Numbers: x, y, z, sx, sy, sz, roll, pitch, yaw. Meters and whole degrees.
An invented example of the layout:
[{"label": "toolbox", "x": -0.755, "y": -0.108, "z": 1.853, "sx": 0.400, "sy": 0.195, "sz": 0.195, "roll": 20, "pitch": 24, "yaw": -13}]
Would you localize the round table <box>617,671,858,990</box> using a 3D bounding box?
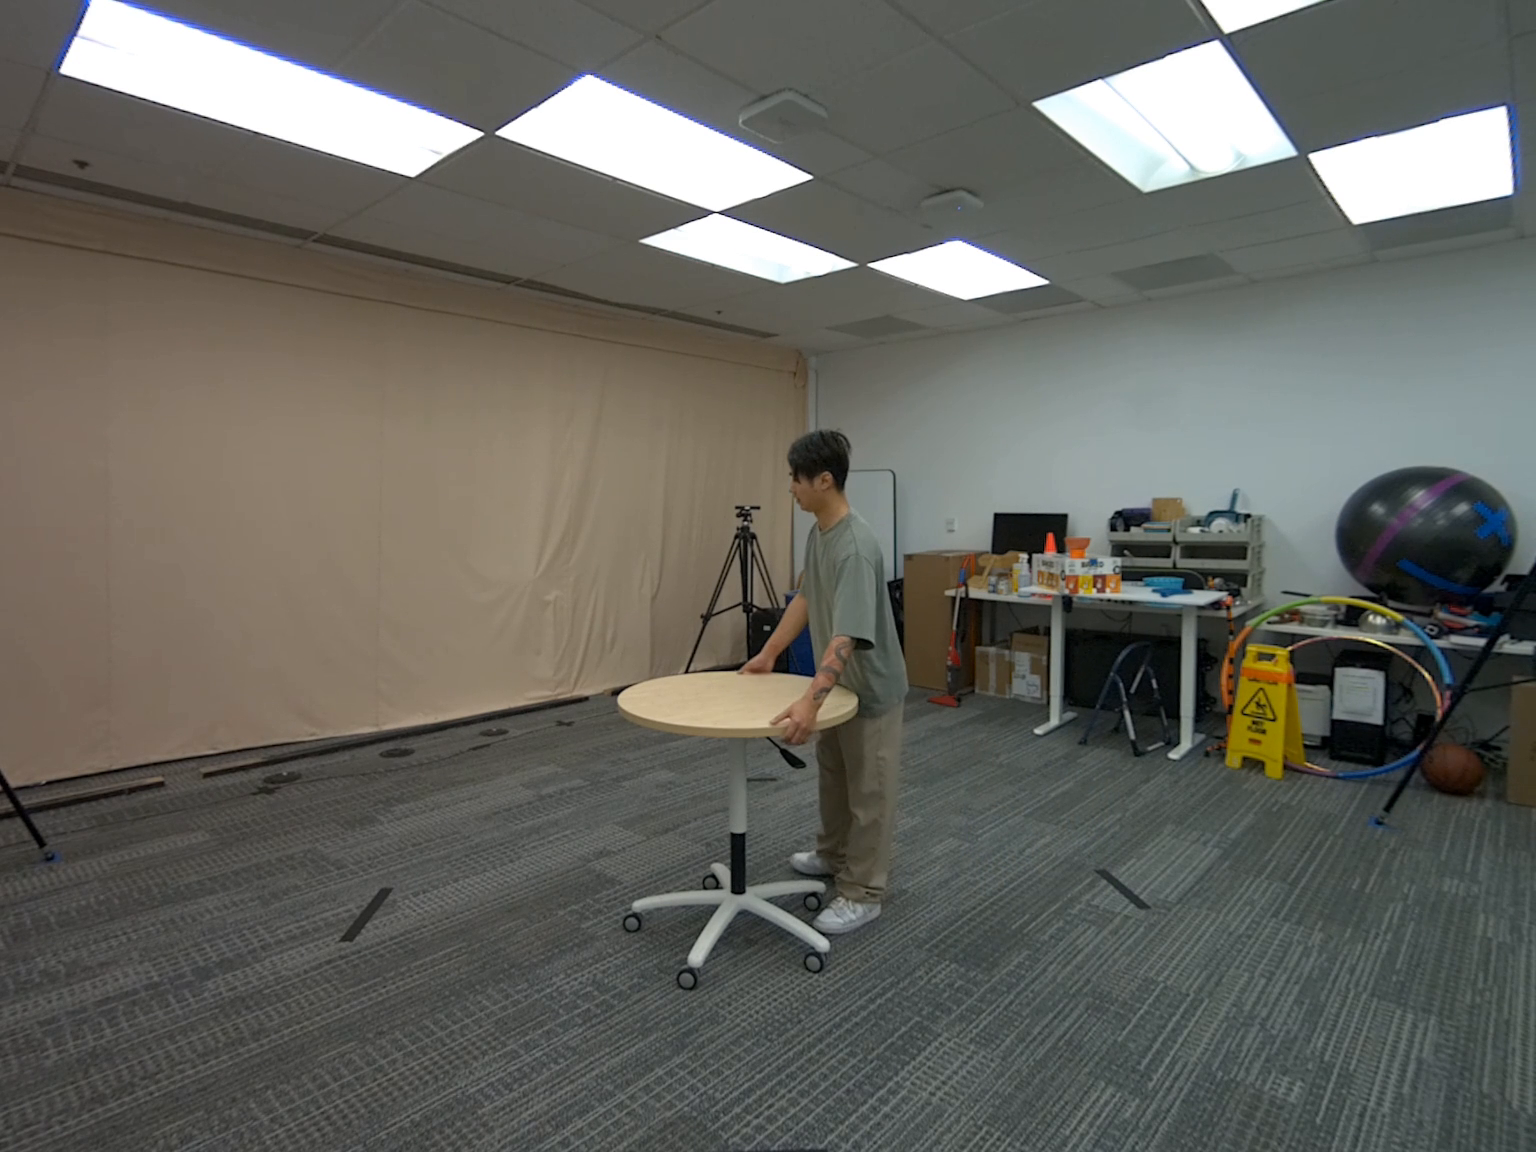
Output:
[{"label": "round table", "x": -0.113, "y": 0.777, "z": 2.715, "sx": 0.784, "sy": 0.785, "sz": 0.788, "roll": 0, "pitch": 4, "yaw": -2}]
